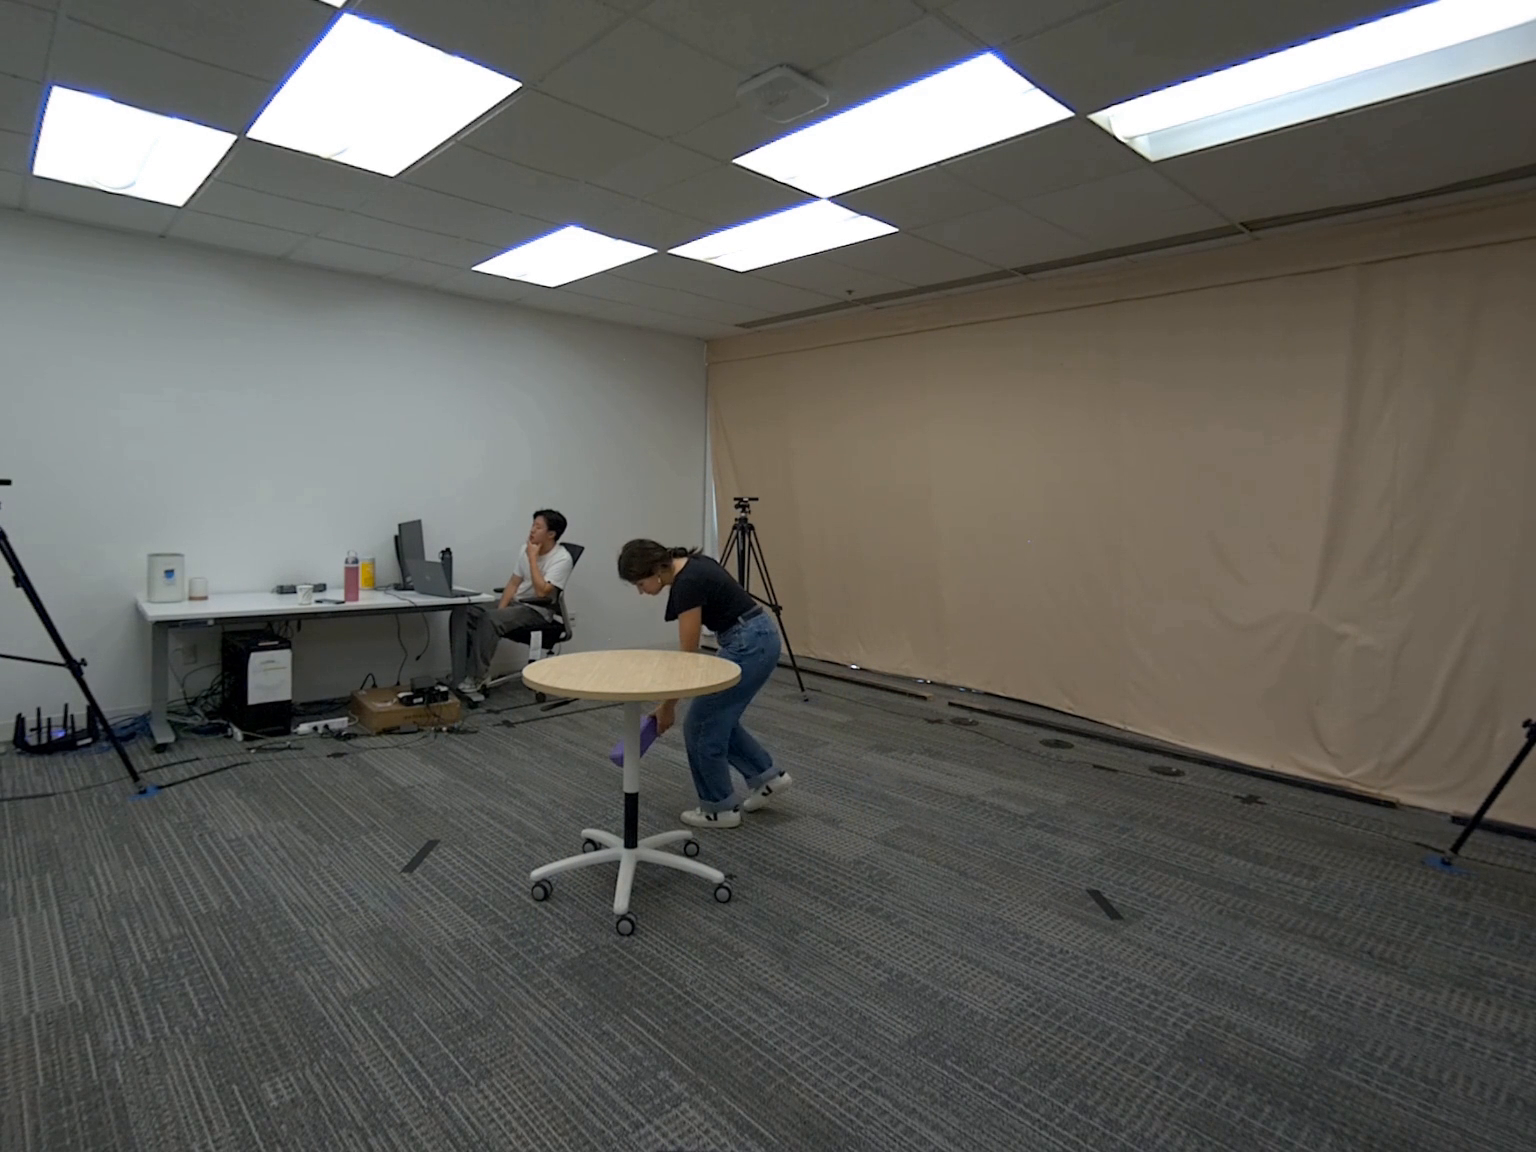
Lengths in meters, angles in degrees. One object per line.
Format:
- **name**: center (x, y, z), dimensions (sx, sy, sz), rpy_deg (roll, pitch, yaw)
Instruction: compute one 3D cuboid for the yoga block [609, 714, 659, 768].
- **yoga block**: center (-0.564, 0.697, 3.532), dimensions (0.229, 0.075, 0.151), rpy_deg (-50, 17, -31)
